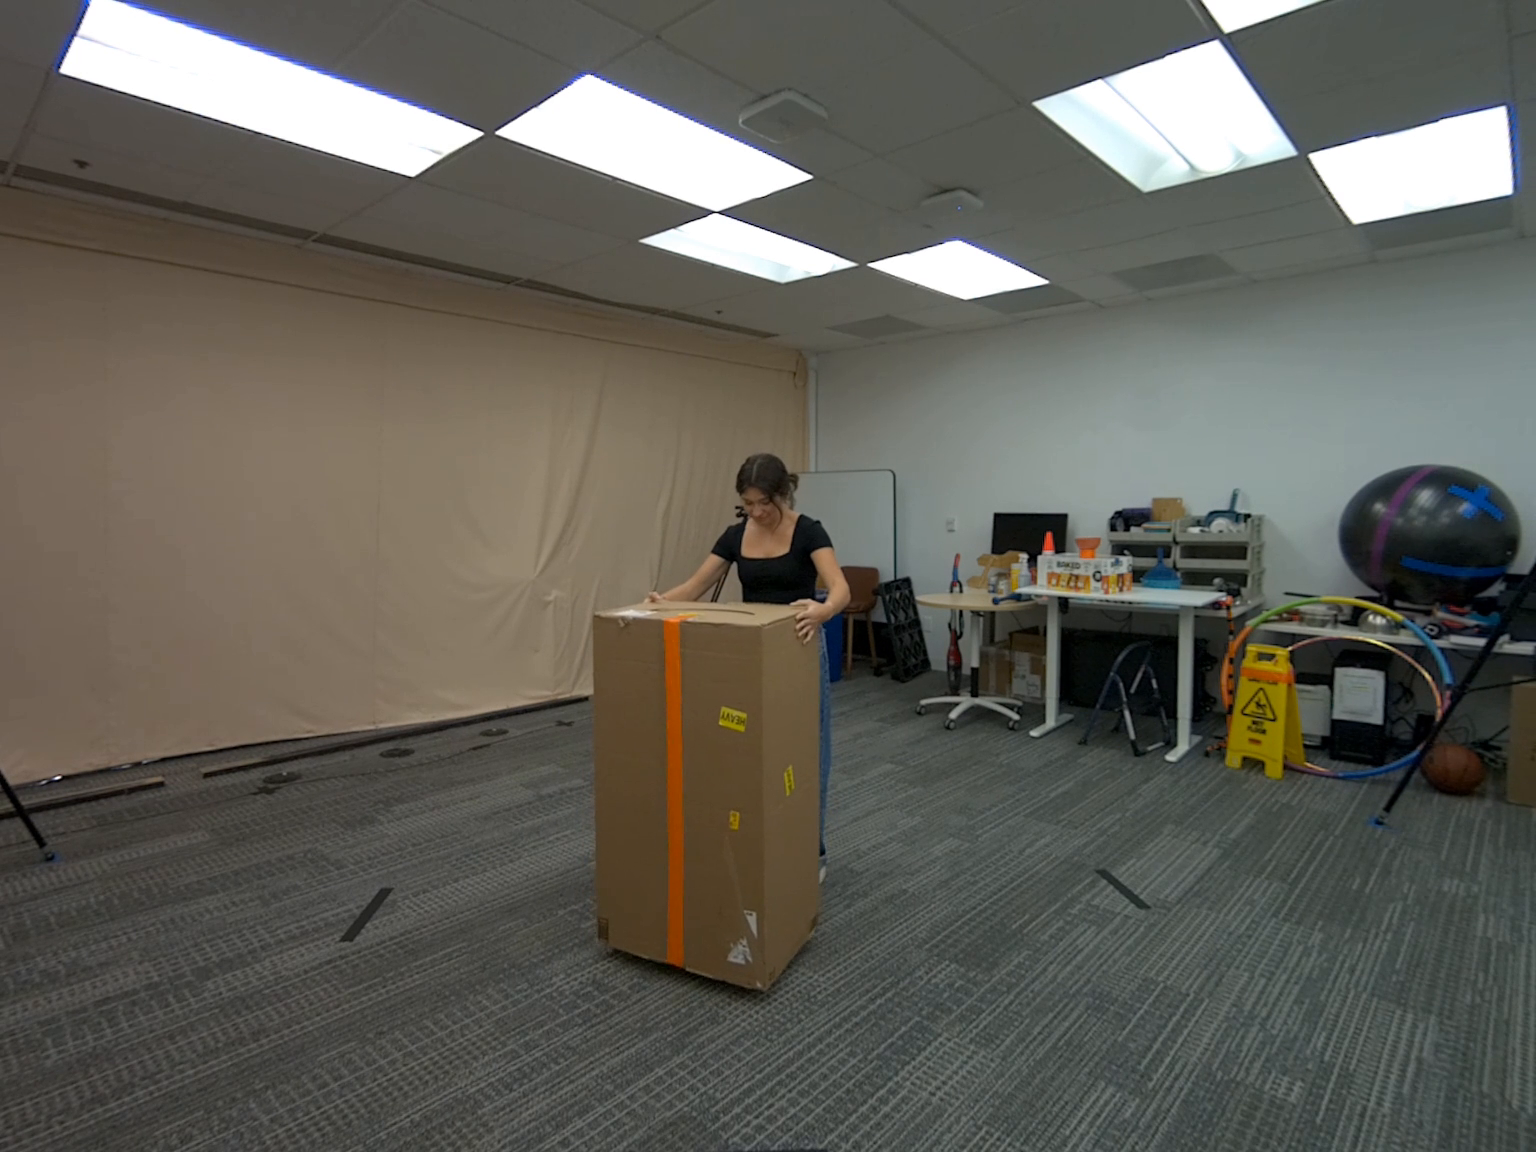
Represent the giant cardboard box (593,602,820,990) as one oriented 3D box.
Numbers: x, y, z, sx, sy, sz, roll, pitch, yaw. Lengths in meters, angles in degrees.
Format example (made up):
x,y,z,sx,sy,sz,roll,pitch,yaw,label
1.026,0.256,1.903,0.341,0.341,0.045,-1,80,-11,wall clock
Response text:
x,y,z,sx,sy,sz,roll,pitch,yaw,label
-0.187,0.619,2.610,0.593,1.024,0.415,1,3,27,giant cardboard box
